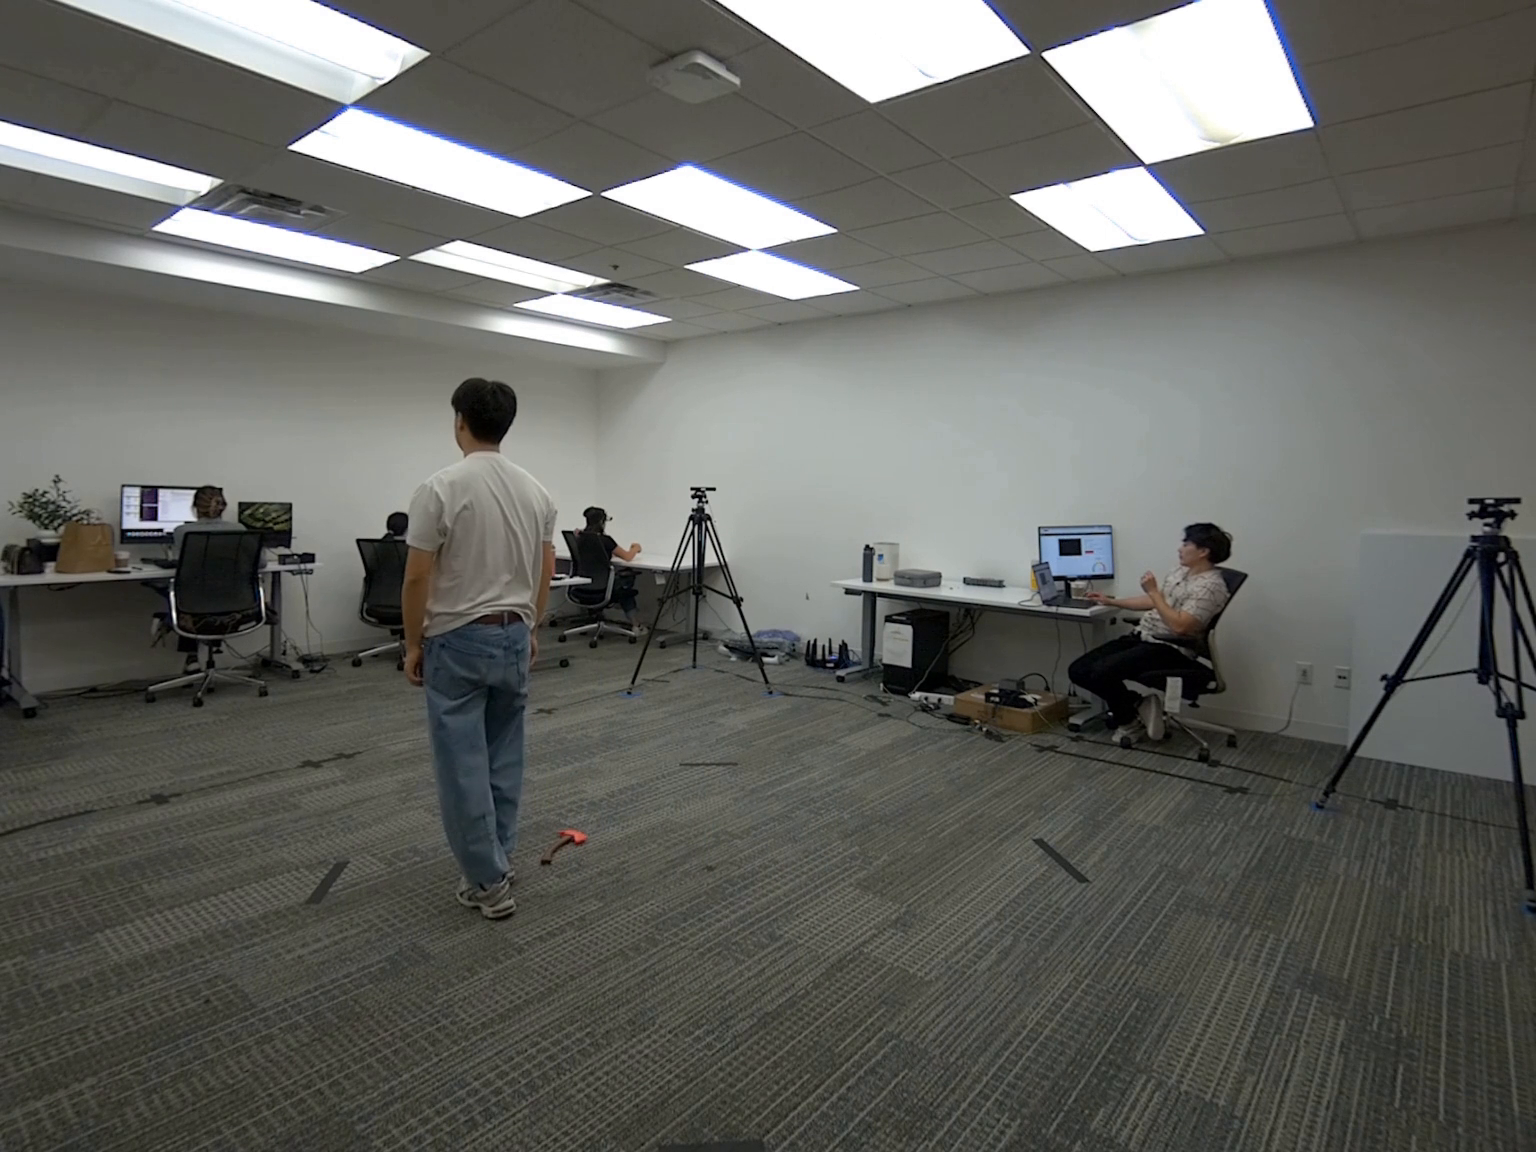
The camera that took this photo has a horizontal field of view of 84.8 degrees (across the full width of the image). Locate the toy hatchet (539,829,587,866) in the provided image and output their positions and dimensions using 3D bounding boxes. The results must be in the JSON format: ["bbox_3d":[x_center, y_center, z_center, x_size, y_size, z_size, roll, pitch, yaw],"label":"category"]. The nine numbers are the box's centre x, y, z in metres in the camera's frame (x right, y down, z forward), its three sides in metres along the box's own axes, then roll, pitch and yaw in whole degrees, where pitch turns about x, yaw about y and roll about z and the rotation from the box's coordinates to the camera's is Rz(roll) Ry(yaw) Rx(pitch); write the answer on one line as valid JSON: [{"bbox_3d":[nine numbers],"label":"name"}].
[{"bbox_3d":[-0.782,1.034,3.239,0.131,0.029,0.271,1,8,1],"label":"toy hatchet"}]
